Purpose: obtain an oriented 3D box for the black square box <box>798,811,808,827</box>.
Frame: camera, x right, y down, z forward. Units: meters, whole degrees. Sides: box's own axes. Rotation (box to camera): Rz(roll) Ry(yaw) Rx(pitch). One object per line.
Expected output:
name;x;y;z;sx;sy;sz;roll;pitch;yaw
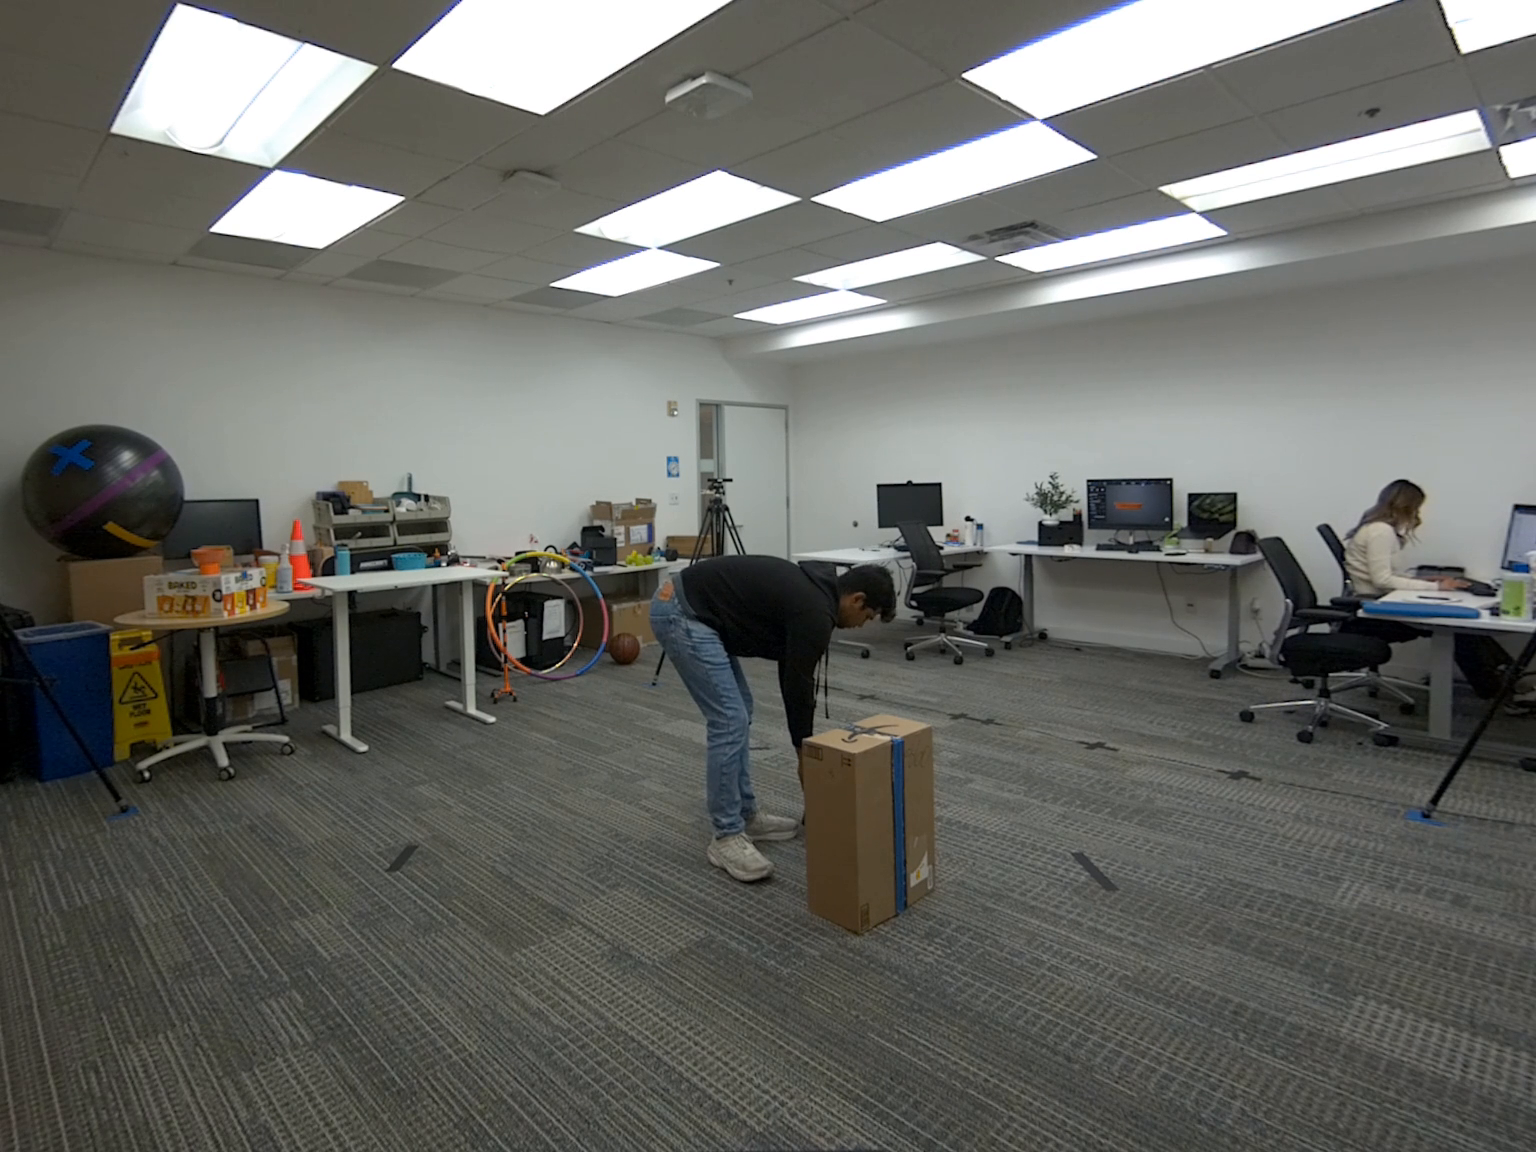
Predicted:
black square box;0.275;0.867;3.357;0.219;0.155;0.227;11;11;7
